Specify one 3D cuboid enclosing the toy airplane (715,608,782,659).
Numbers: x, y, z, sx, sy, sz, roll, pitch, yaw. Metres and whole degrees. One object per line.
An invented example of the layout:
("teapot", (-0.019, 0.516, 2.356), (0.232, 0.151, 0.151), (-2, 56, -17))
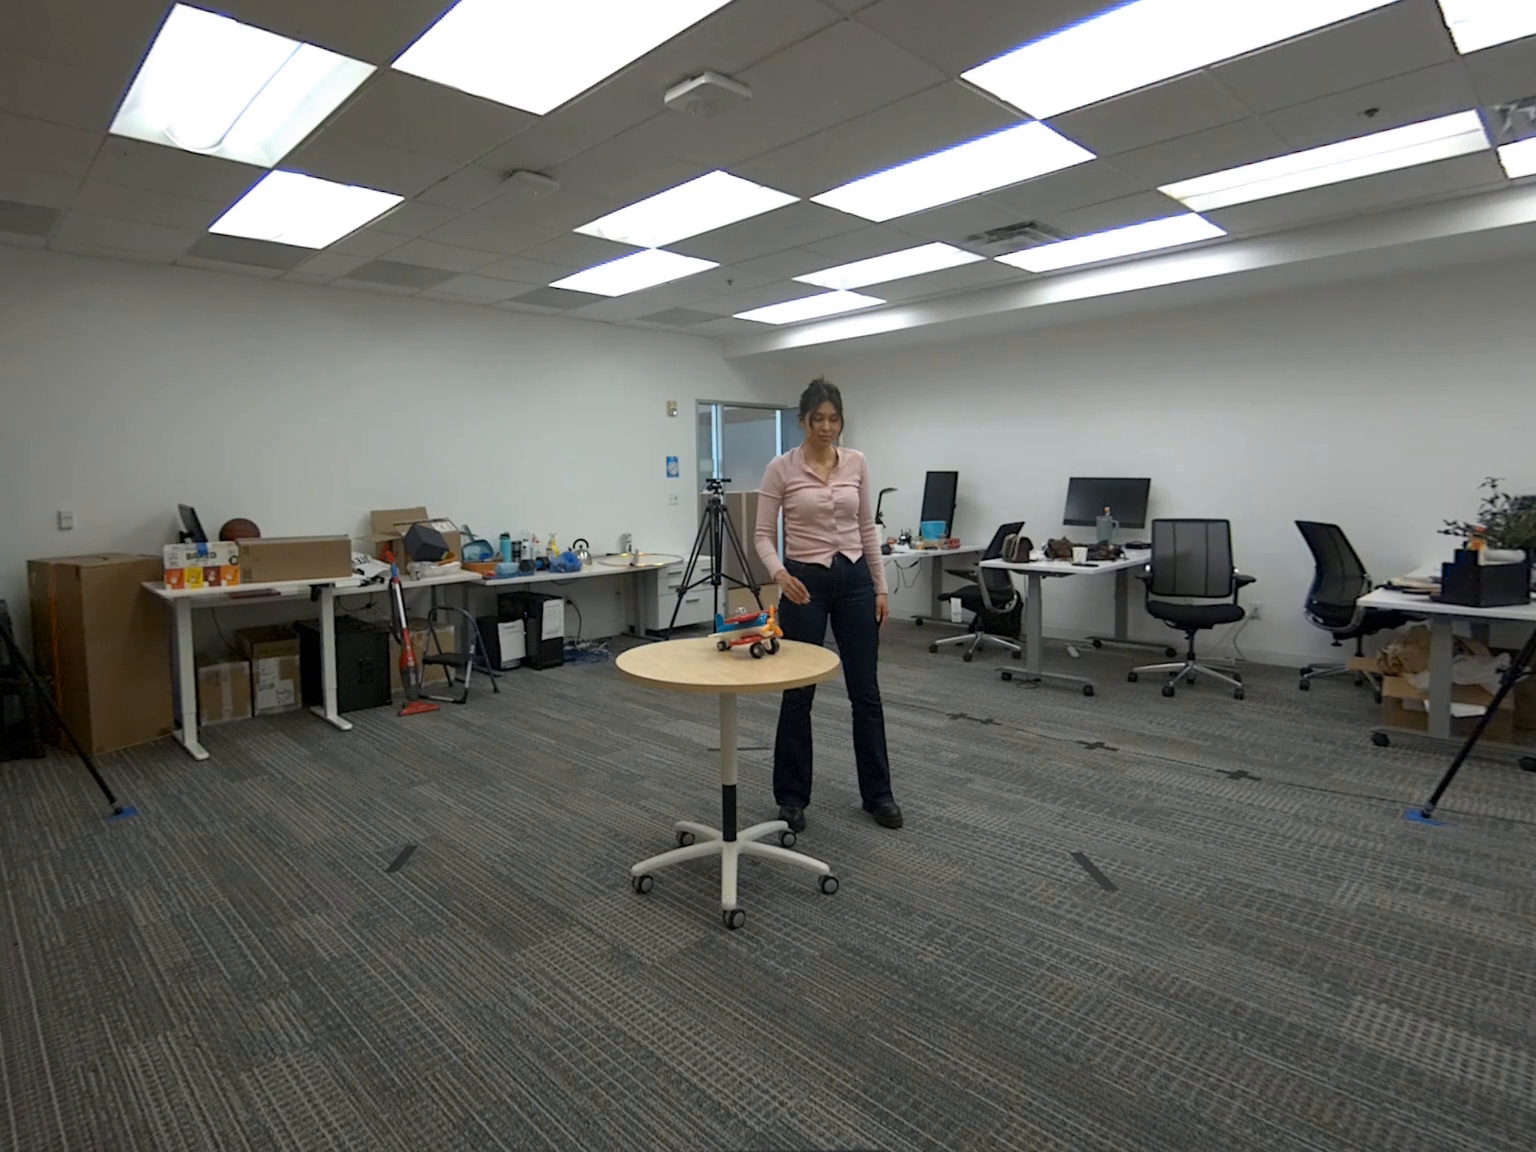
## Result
("toy airplane", (-0.090, 0.198, 2.990), (0.262, 0.155, 0.250), (1, 7, 8))
